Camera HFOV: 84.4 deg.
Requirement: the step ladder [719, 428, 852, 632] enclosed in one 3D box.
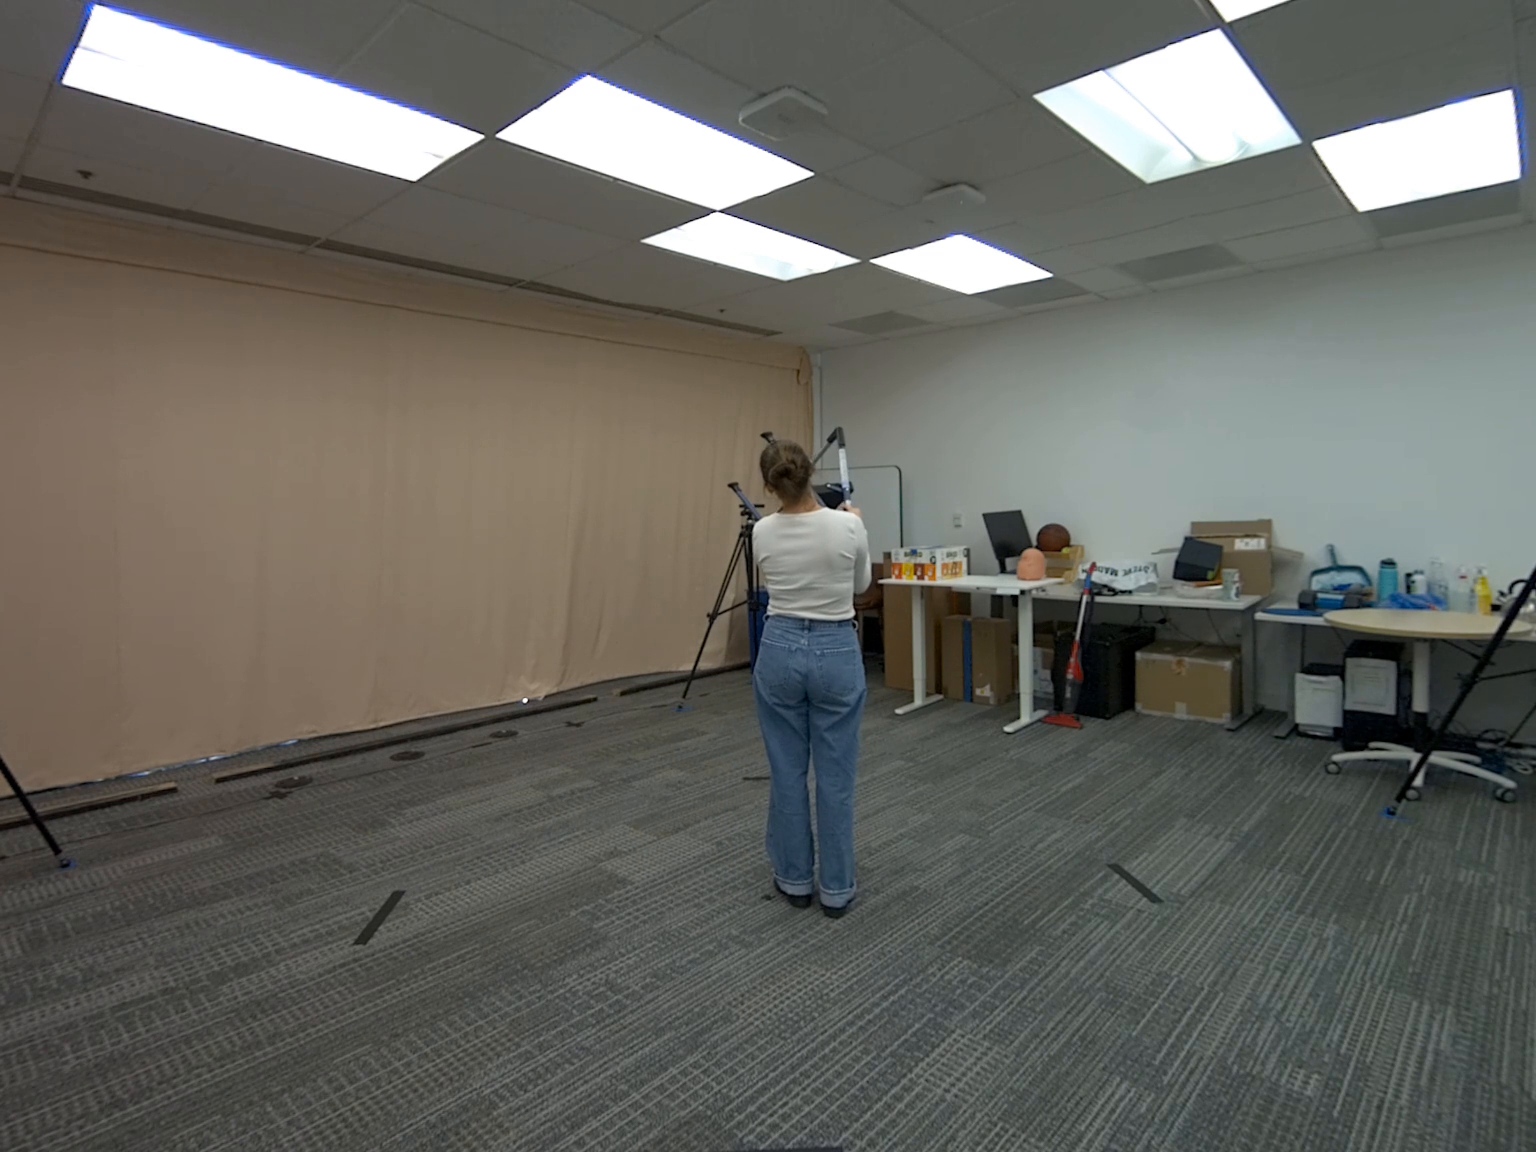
[{"bbox_3d":[0.159,-0.201,3.271,0.342,0.616,0.433,-10,-20,-25],"label":"step ladder"}]
